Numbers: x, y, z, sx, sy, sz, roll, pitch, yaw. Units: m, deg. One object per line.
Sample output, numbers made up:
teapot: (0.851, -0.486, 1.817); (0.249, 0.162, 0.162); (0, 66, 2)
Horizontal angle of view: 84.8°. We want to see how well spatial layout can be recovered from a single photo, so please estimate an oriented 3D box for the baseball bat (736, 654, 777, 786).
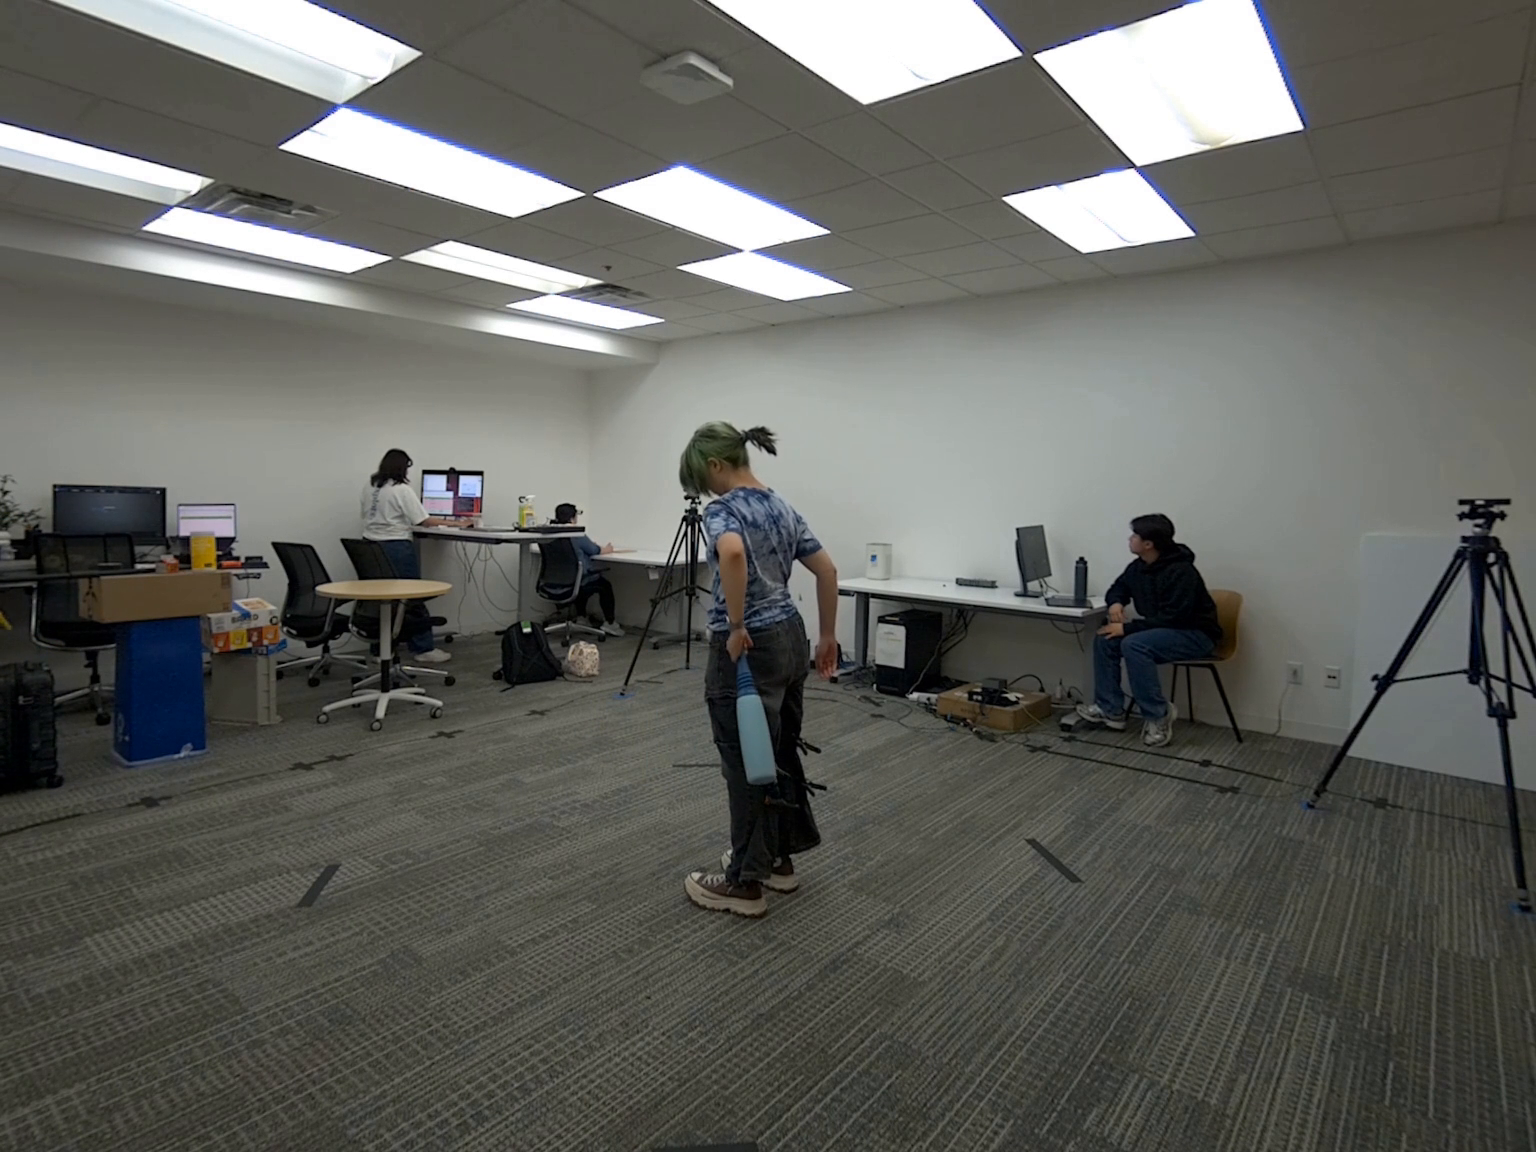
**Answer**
baseball bat: (-0.064, 0.348, 2.566); (0.088, 0.558, 0.087); (-8, -27, -6)
